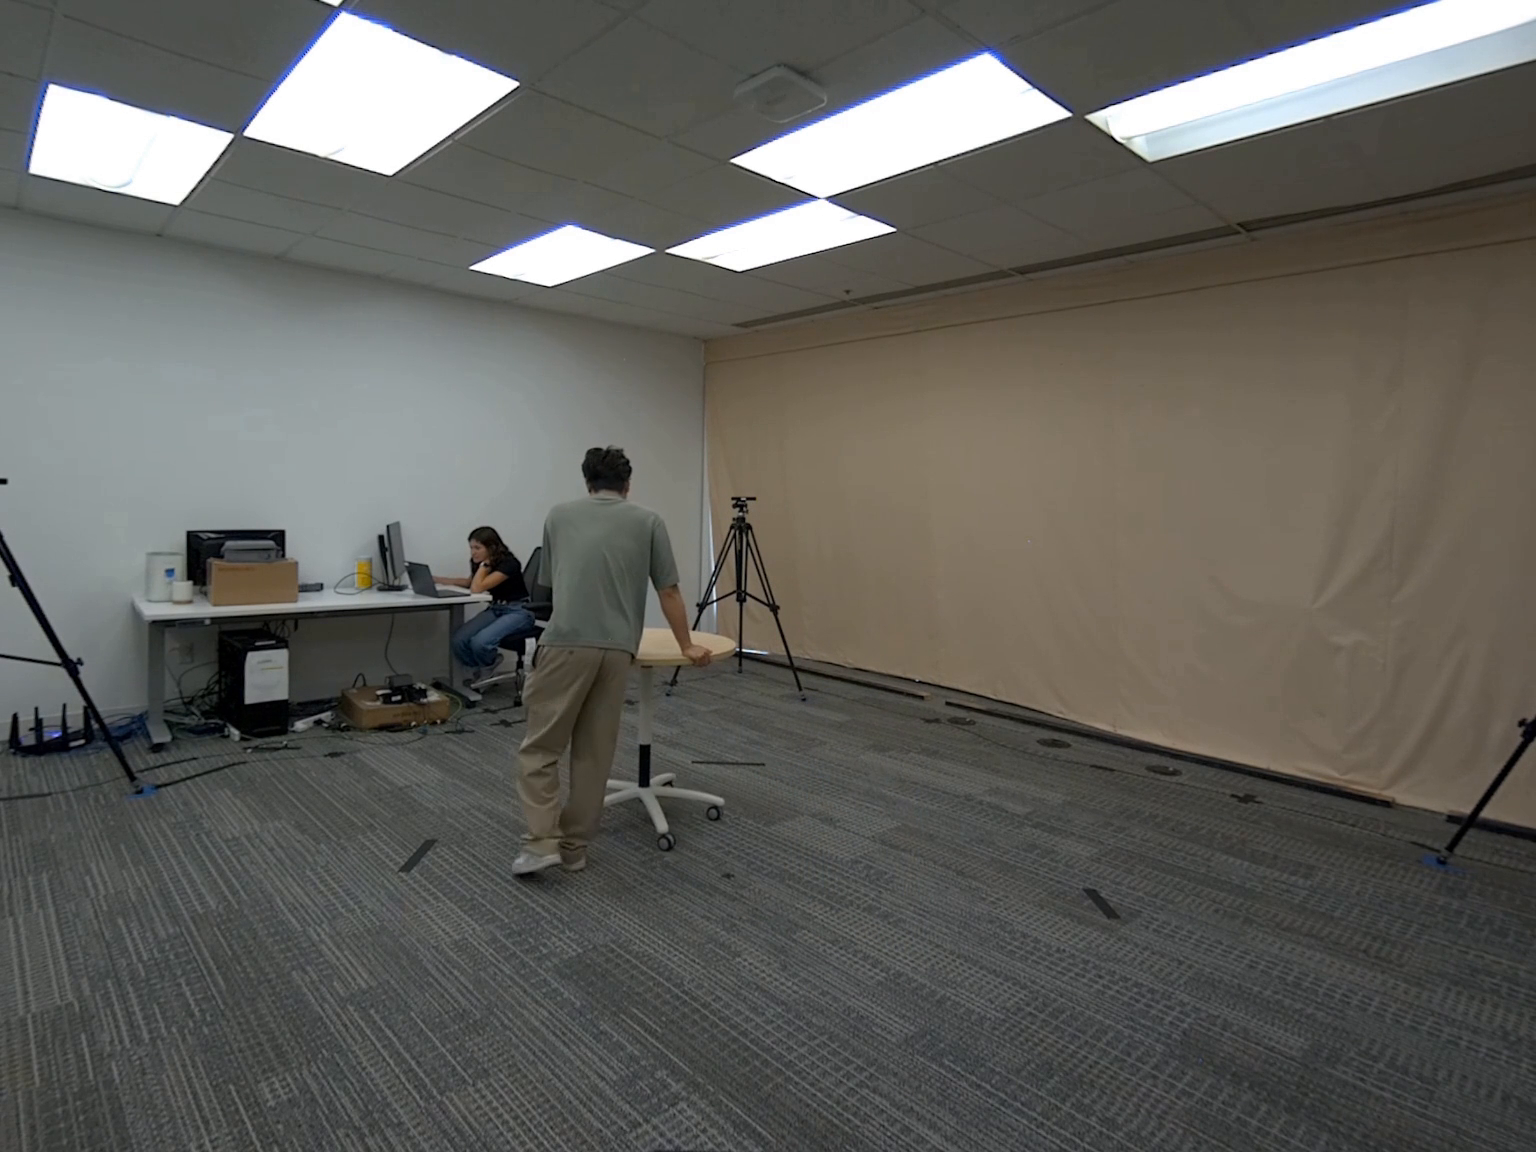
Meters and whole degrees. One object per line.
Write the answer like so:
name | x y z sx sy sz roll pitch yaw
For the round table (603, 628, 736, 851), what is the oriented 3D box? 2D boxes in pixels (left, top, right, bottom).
round table | -0.519 0.666 3.625 0.784 0.784 0.788 1 4 -1
